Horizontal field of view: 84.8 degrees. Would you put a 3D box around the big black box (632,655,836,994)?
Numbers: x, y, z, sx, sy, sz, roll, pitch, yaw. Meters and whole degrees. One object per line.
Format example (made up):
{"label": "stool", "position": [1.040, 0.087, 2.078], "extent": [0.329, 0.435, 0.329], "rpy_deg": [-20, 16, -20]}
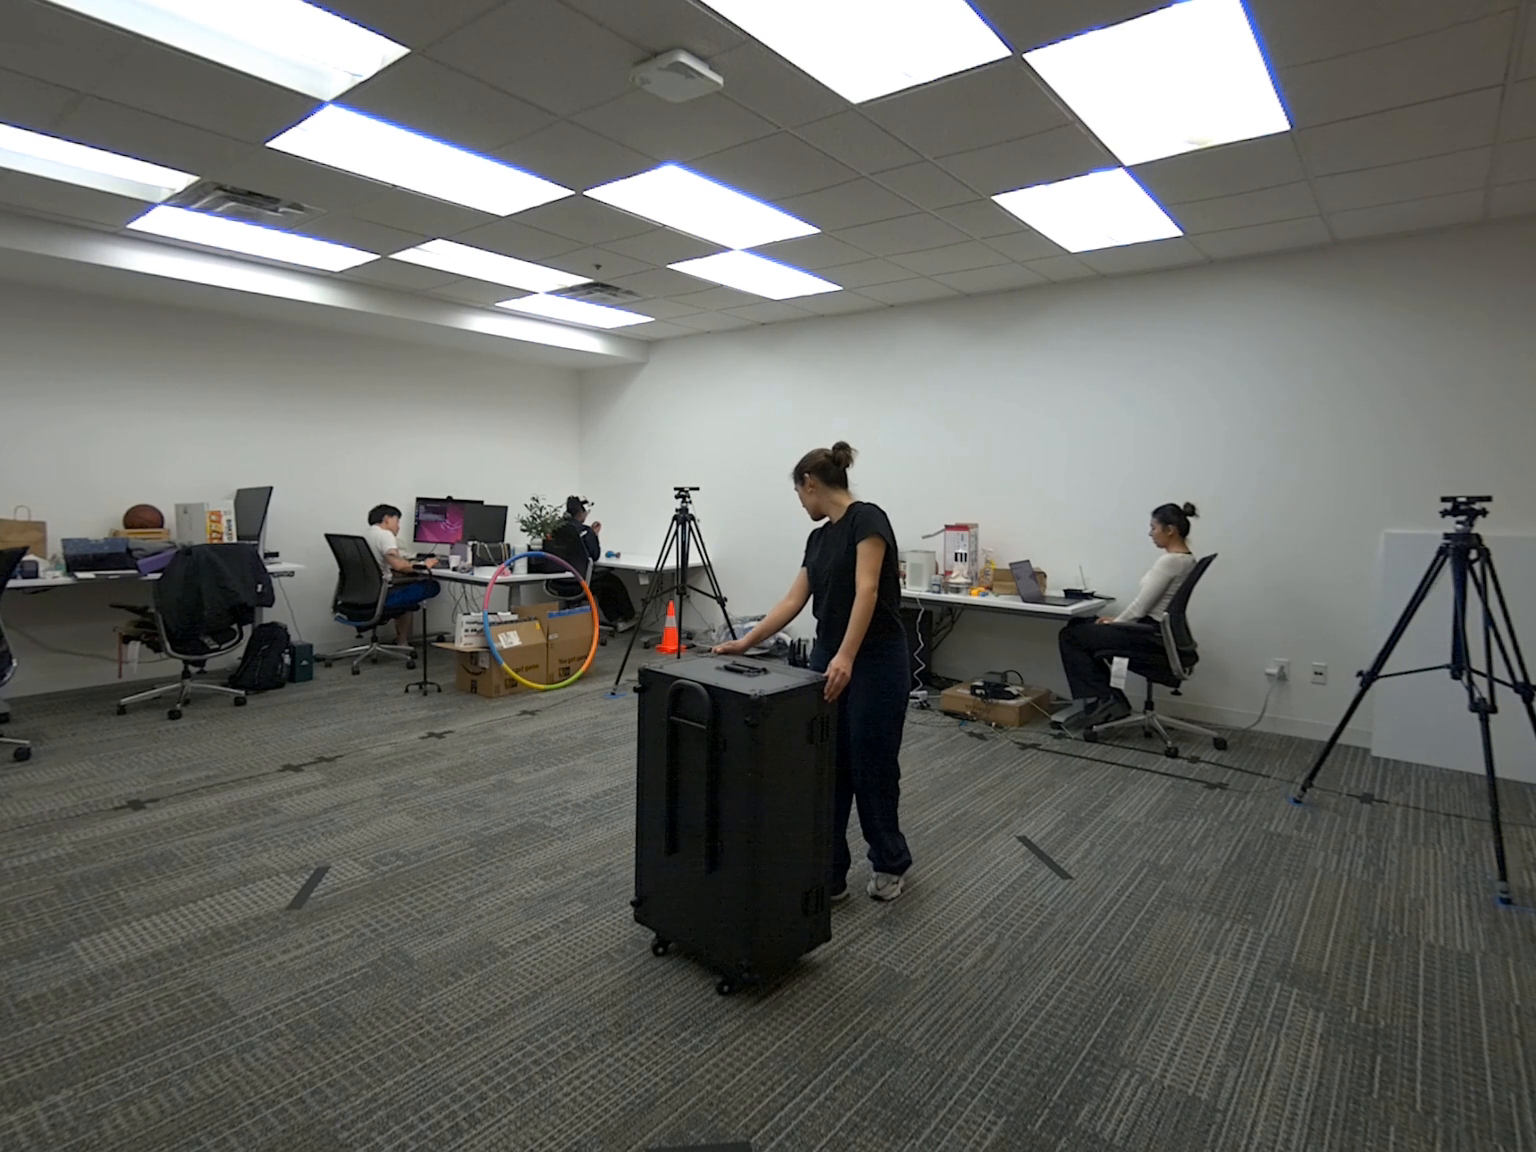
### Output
{"label": "big black box", "position": [-0.097, 0.704, 2.510], "extent": [0.539, 0.858, 0.384], "rpy_deg": [4, 6, 43]}
